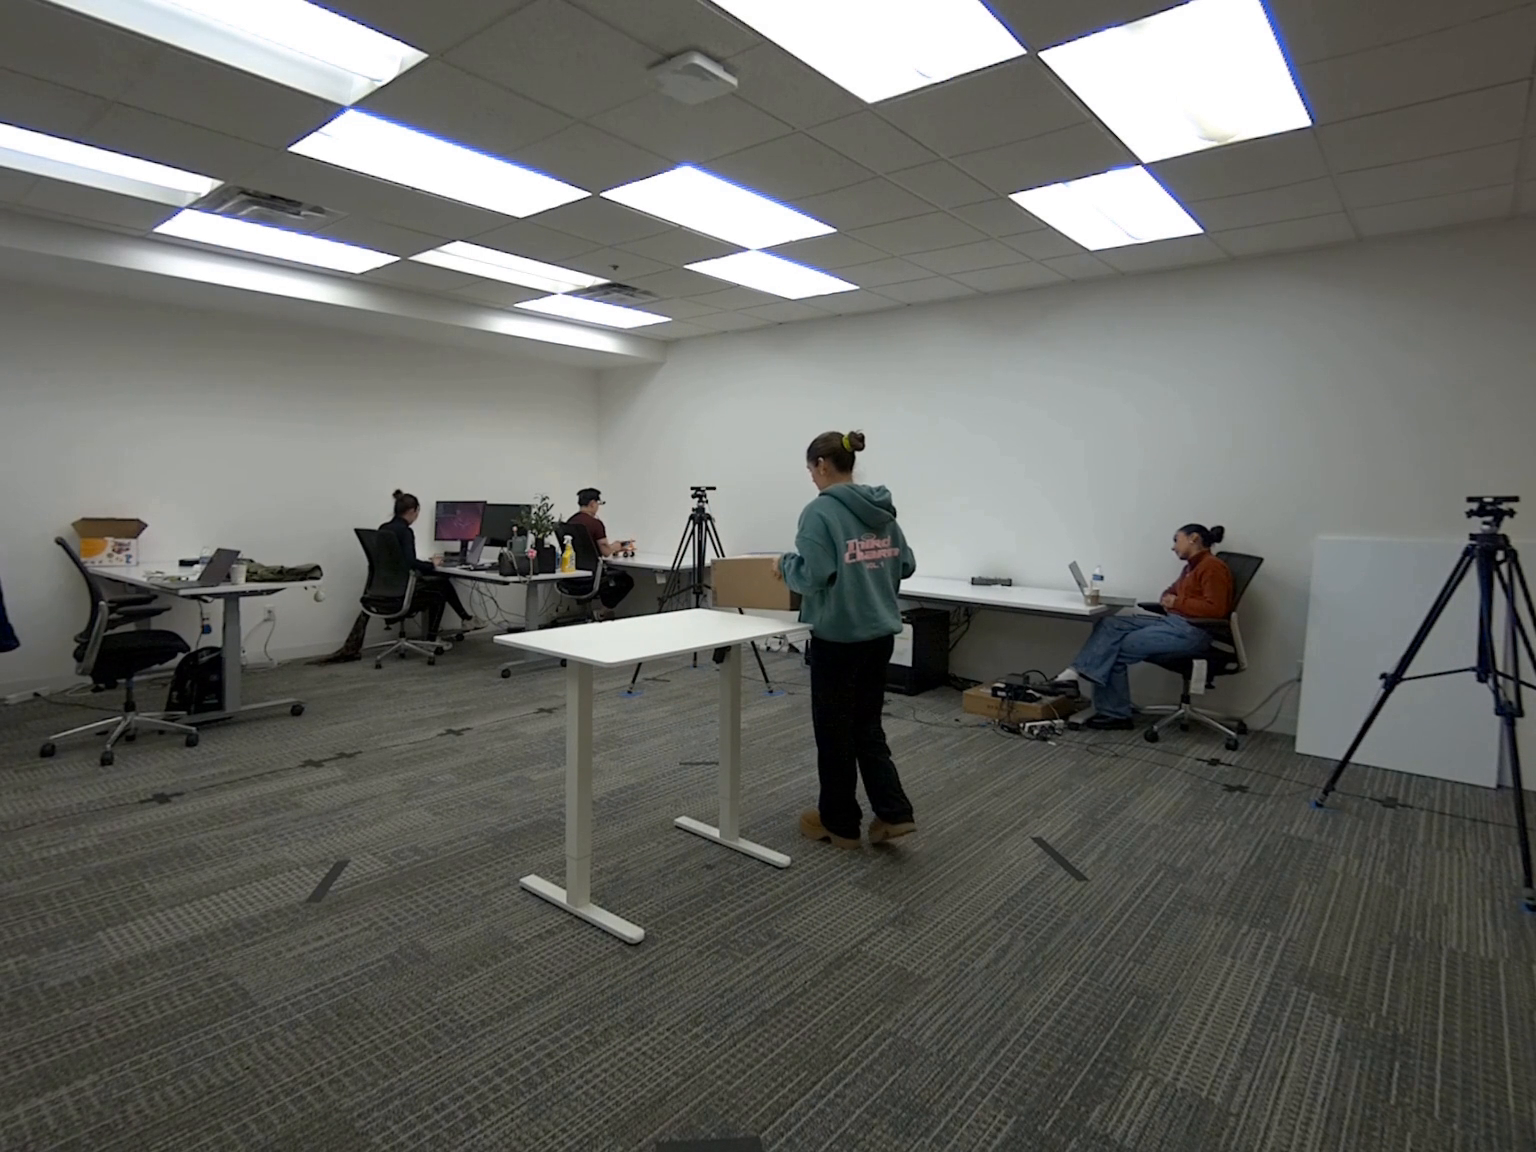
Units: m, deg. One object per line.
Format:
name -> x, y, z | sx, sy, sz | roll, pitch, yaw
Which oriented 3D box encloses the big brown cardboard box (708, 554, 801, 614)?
big brown cardboard box -> 0.066, 0.020, 3.702 | 0.405, 0.233, 0.606 | 0, 1, -34
